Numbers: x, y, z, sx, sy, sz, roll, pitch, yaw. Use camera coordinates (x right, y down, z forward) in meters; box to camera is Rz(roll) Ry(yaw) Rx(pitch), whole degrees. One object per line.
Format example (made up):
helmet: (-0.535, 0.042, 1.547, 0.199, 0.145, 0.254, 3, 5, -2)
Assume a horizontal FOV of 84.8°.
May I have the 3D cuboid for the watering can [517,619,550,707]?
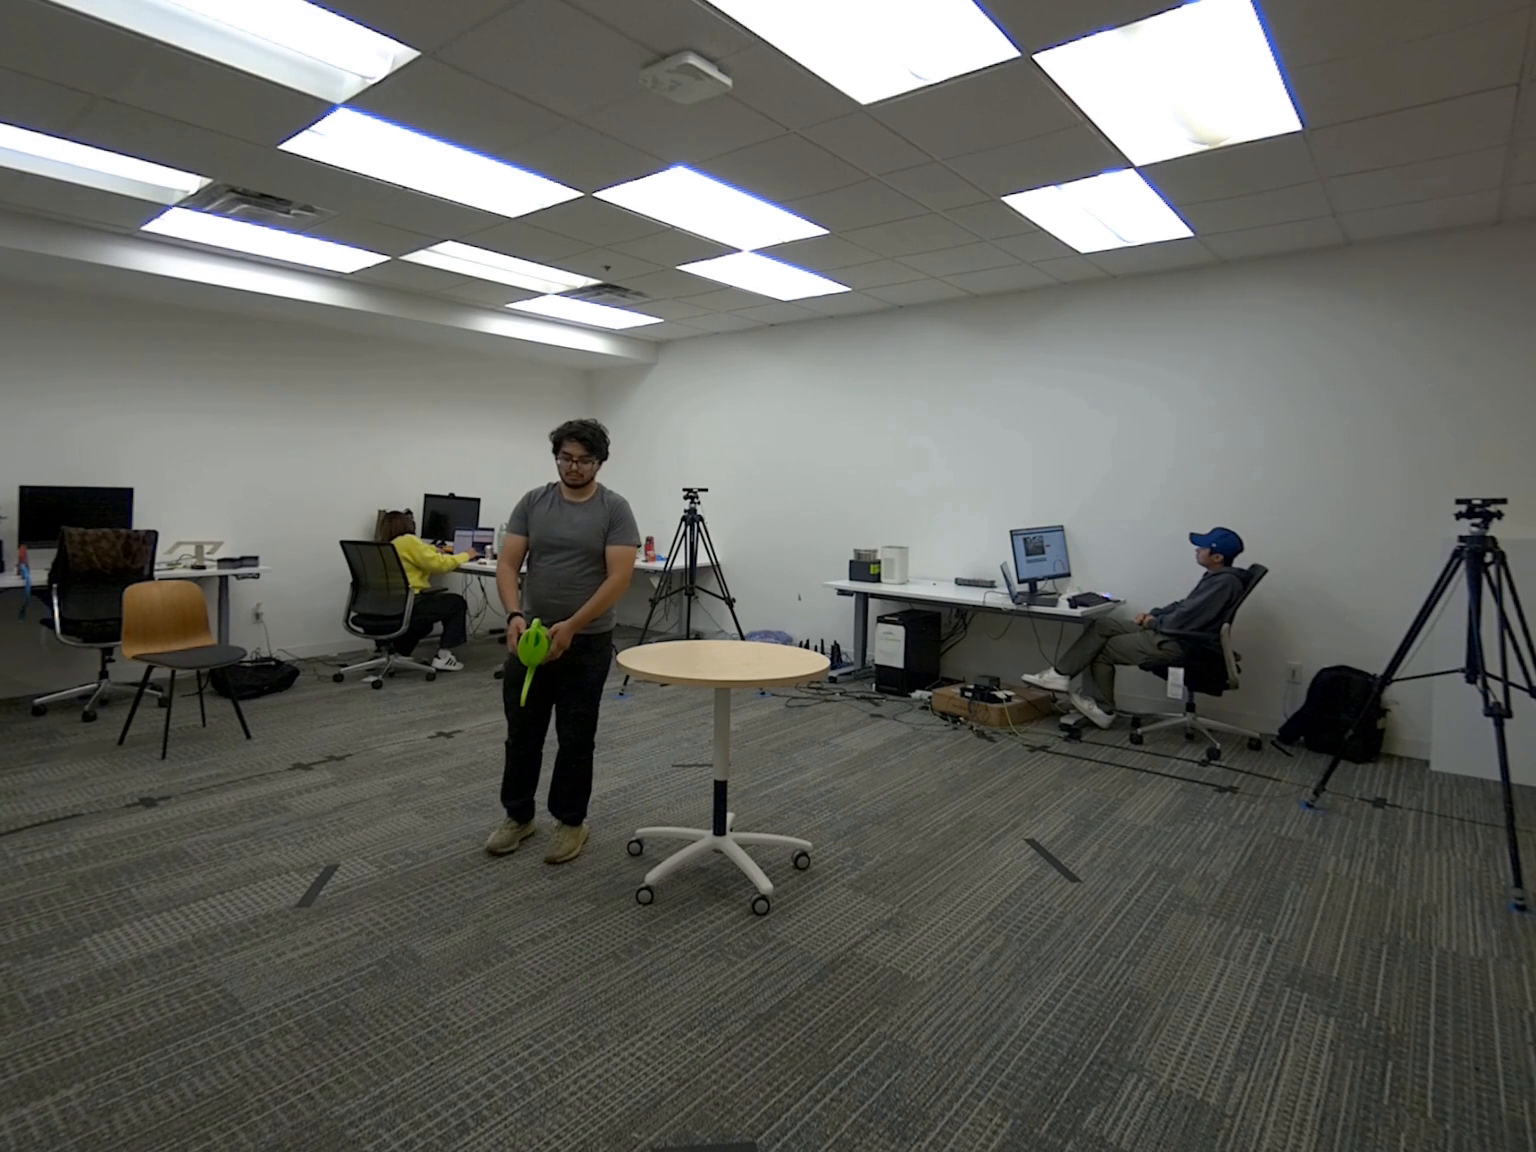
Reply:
watering can: (-0.810, 0.274, 2.877, 0.097, 0.279, 0.177, 20, -6, -6)
